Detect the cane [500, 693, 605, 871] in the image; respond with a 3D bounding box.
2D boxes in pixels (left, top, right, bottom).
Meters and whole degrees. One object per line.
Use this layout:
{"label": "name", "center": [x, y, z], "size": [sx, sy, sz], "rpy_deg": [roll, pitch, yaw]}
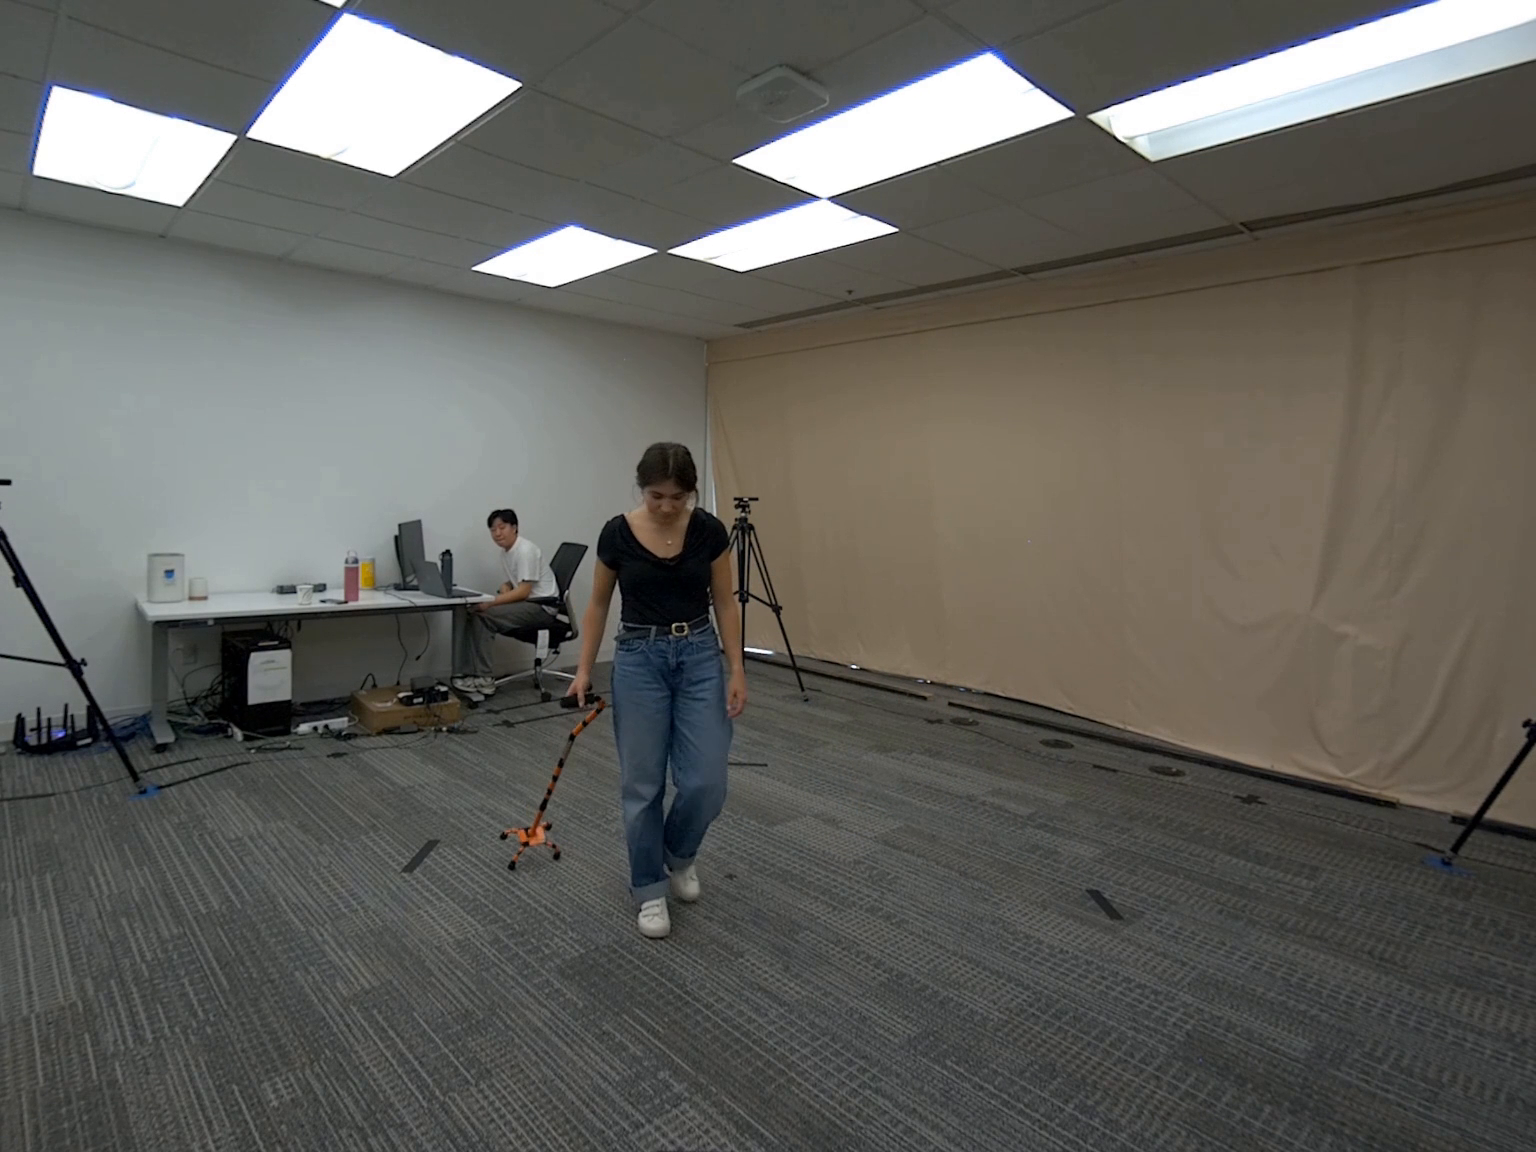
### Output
{"label": "cane", "center": [-0.746, 0.717, 2.944], "size": [0.202, 0.900, 0.156], "rpy_deg": [-6, 48, -37]}
